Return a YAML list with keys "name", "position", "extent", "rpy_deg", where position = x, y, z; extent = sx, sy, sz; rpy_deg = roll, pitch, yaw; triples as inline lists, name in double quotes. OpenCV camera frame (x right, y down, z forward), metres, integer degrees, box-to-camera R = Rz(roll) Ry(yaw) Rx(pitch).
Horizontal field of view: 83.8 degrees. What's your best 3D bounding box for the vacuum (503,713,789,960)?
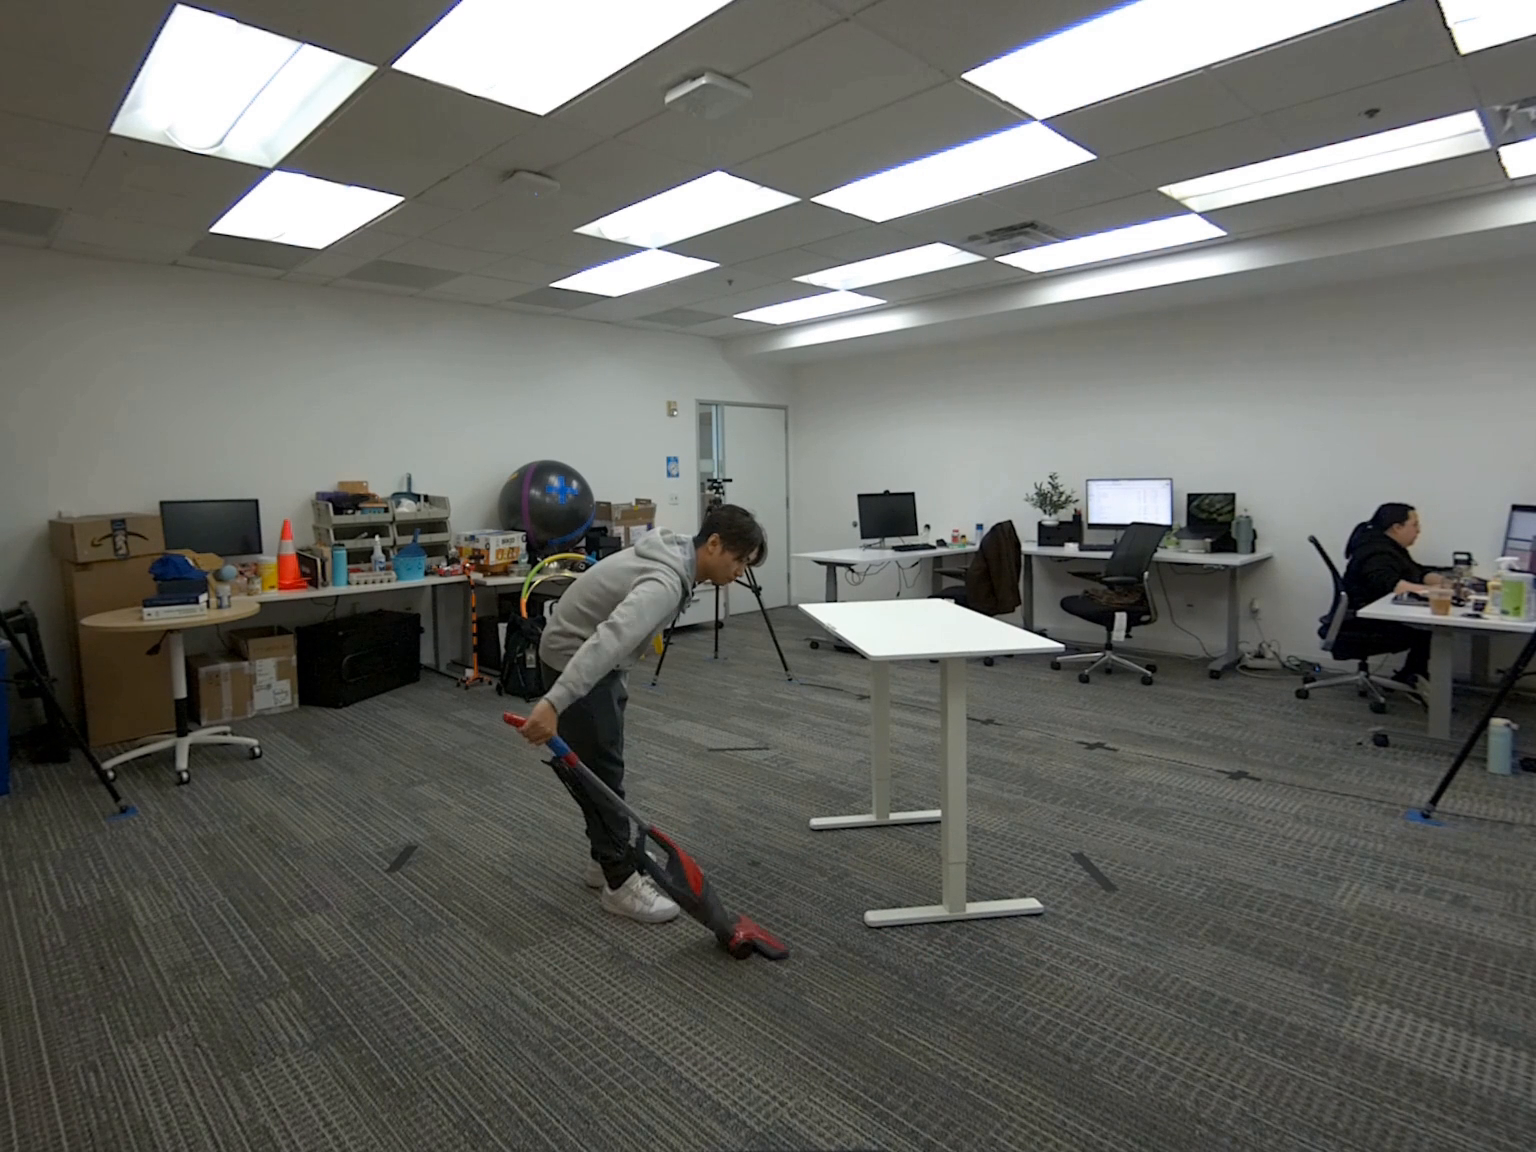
- name: "vacuum"
  position: [-0.341, 0.742, 2.384]
  extent: [0.144, 1.021, 0.259]
  rpy_deg: [-47, 23, -12]
